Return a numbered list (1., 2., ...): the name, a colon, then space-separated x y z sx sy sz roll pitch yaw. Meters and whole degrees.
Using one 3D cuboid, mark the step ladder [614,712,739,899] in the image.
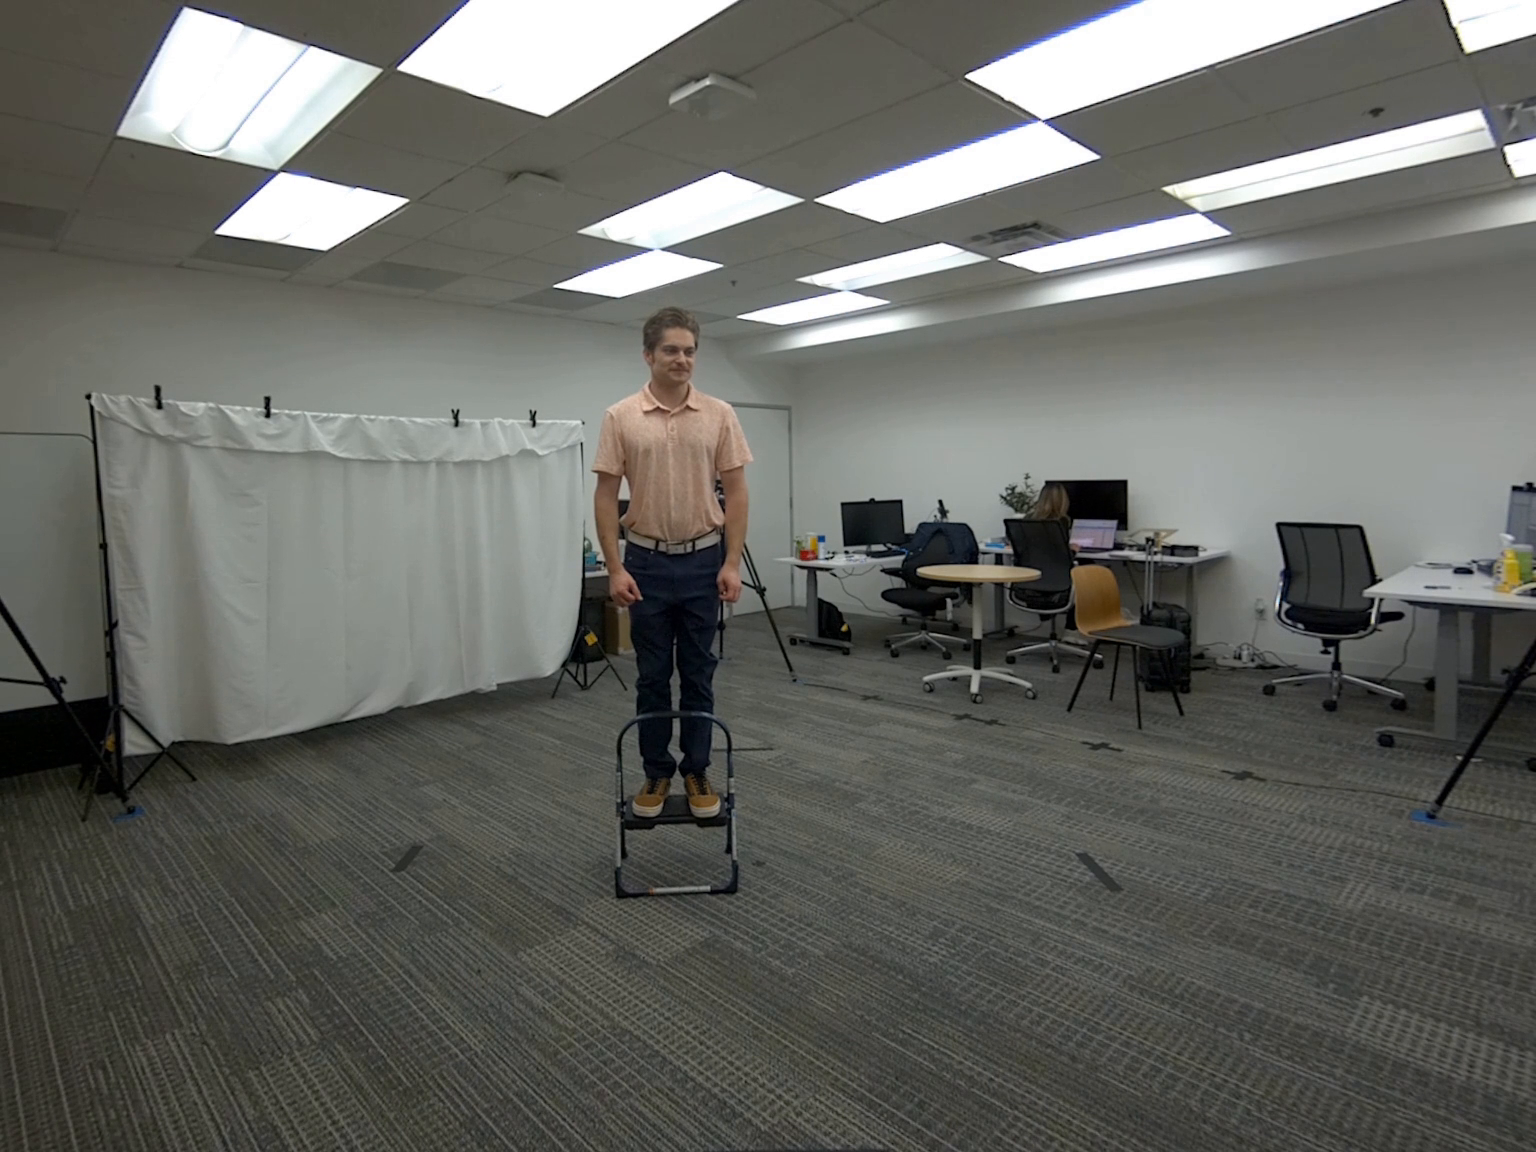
1. step ladder: -0.328 0.764 3.026 0.429 0.604 0.352 -2 3 -5
